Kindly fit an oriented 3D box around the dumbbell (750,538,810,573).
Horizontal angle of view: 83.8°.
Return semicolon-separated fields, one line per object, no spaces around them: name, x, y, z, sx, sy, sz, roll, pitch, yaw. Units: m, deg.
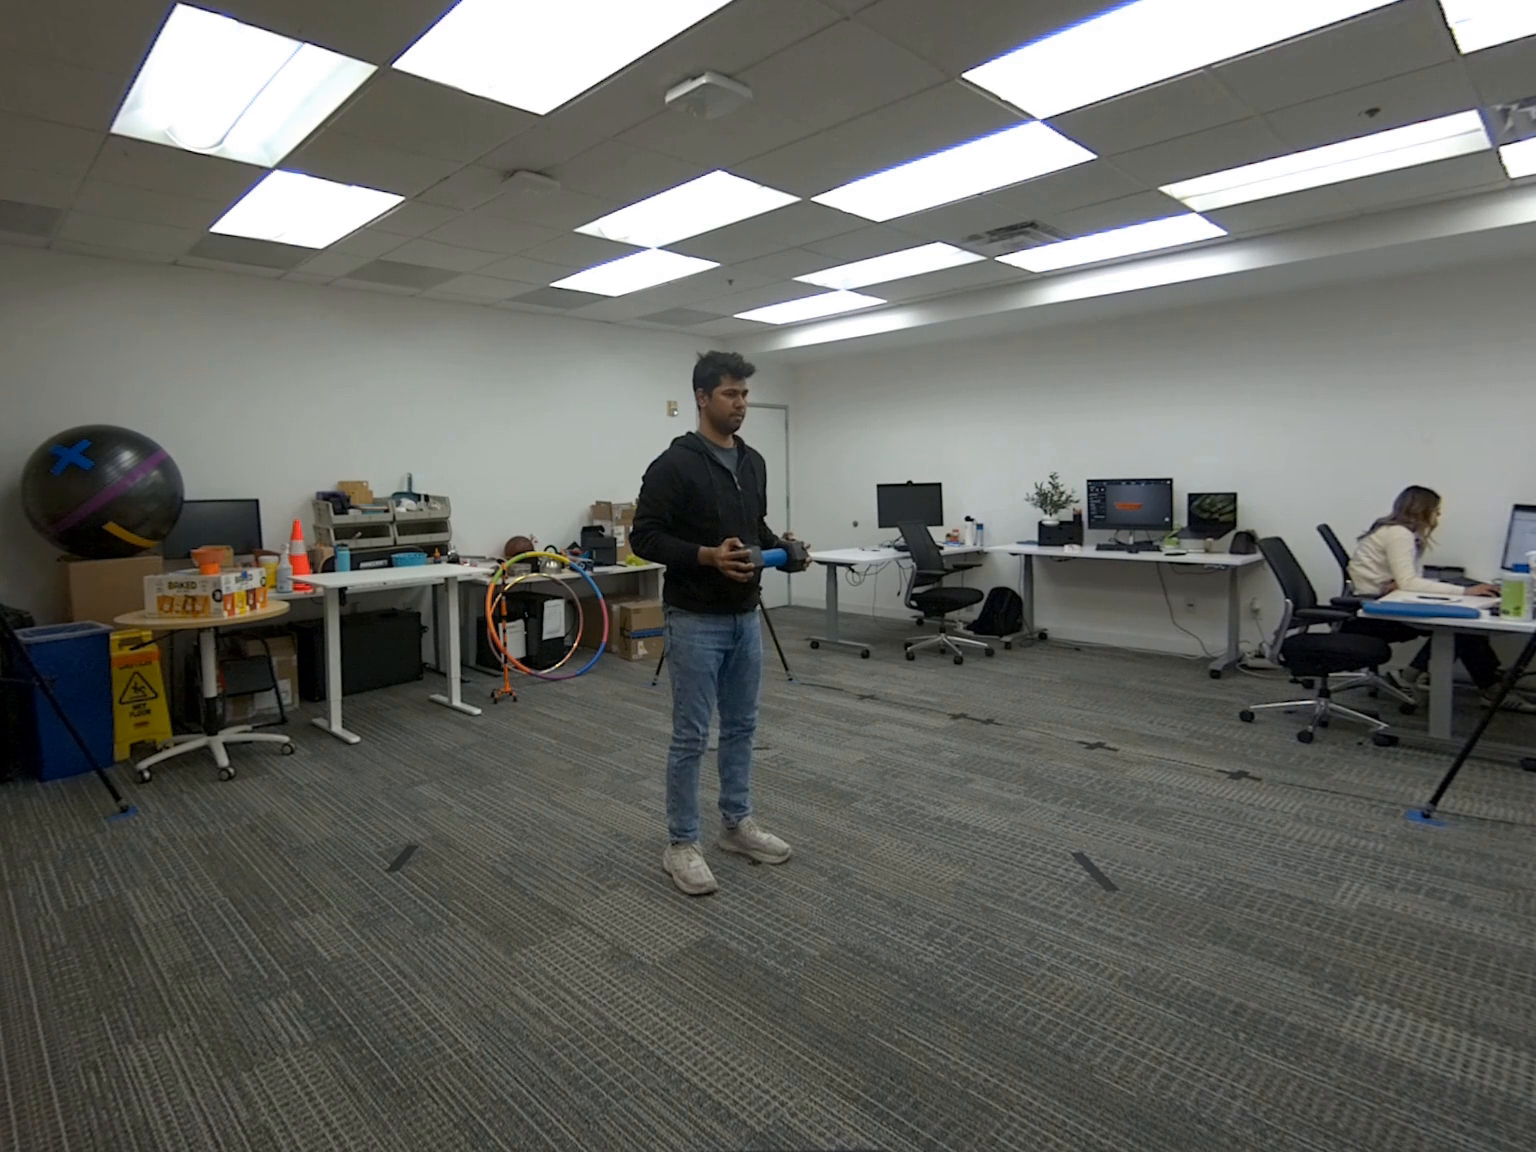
dumbbell;-0.011;-0.050;2.846;0.286;0.107;0.127;-9;15;-39
